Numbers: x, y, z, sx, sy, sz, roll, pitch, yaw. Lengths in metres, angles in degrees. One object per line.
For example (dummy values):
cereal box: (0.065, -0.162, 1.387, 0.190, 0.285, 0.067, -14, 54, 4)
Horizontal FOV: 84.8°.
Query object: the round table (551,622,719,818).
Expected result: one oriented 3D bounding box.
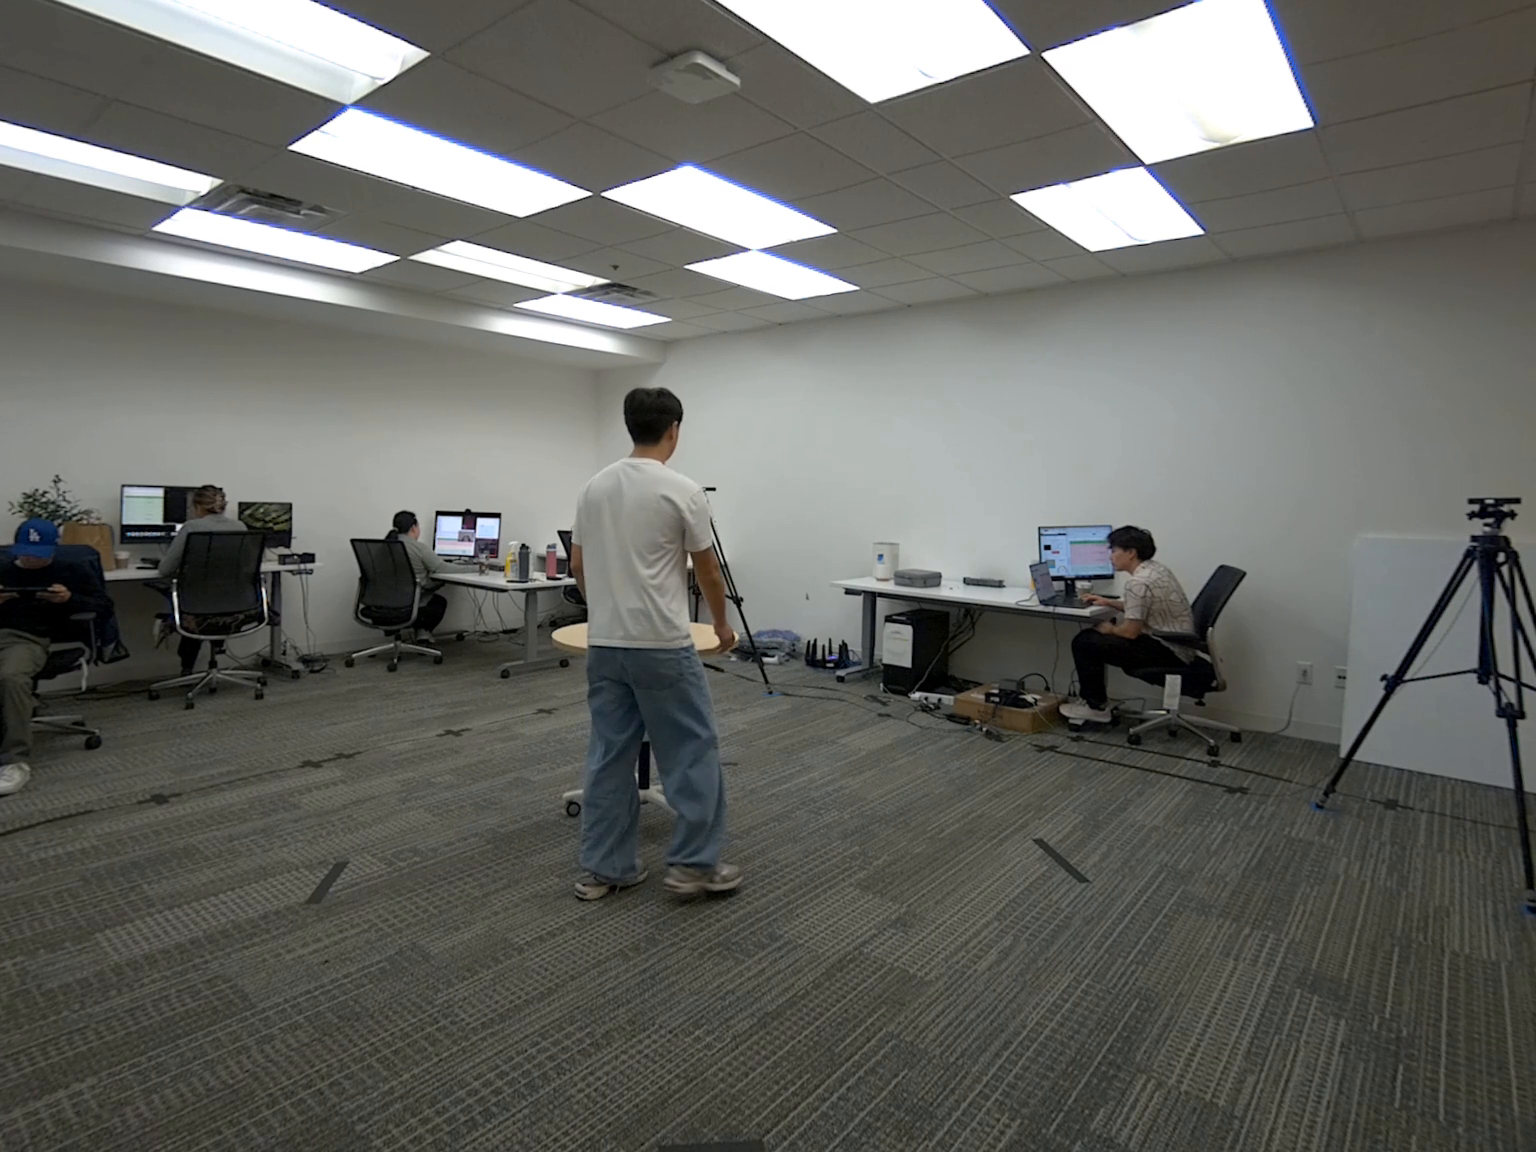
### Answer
round table: (-0.515, 0.628, 3.514, 0.763, 0.792, 0.767, 1, 4, -2)
